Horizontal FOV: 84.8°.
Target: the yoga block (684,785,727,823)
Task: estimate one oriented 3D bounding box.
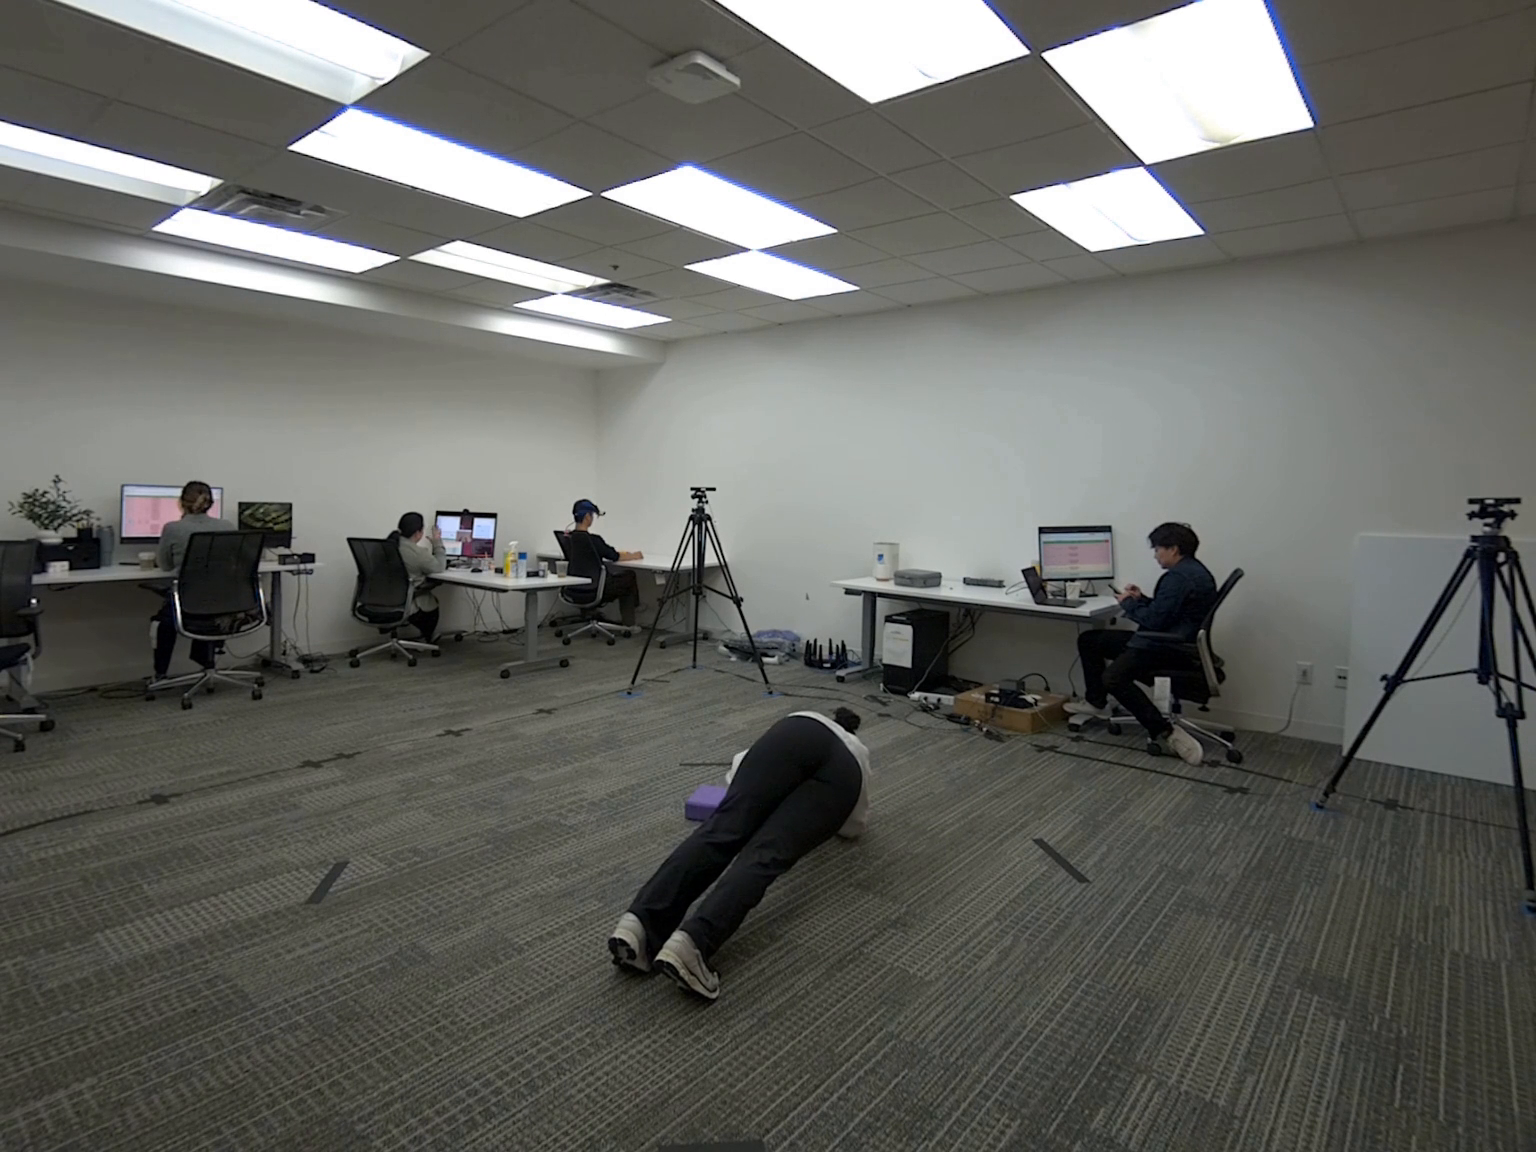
[{"bbox_3d":[-0.263,0.969,3.651,0.152,0.076,0.226,0,6,17],"label":"yoga block"}]
